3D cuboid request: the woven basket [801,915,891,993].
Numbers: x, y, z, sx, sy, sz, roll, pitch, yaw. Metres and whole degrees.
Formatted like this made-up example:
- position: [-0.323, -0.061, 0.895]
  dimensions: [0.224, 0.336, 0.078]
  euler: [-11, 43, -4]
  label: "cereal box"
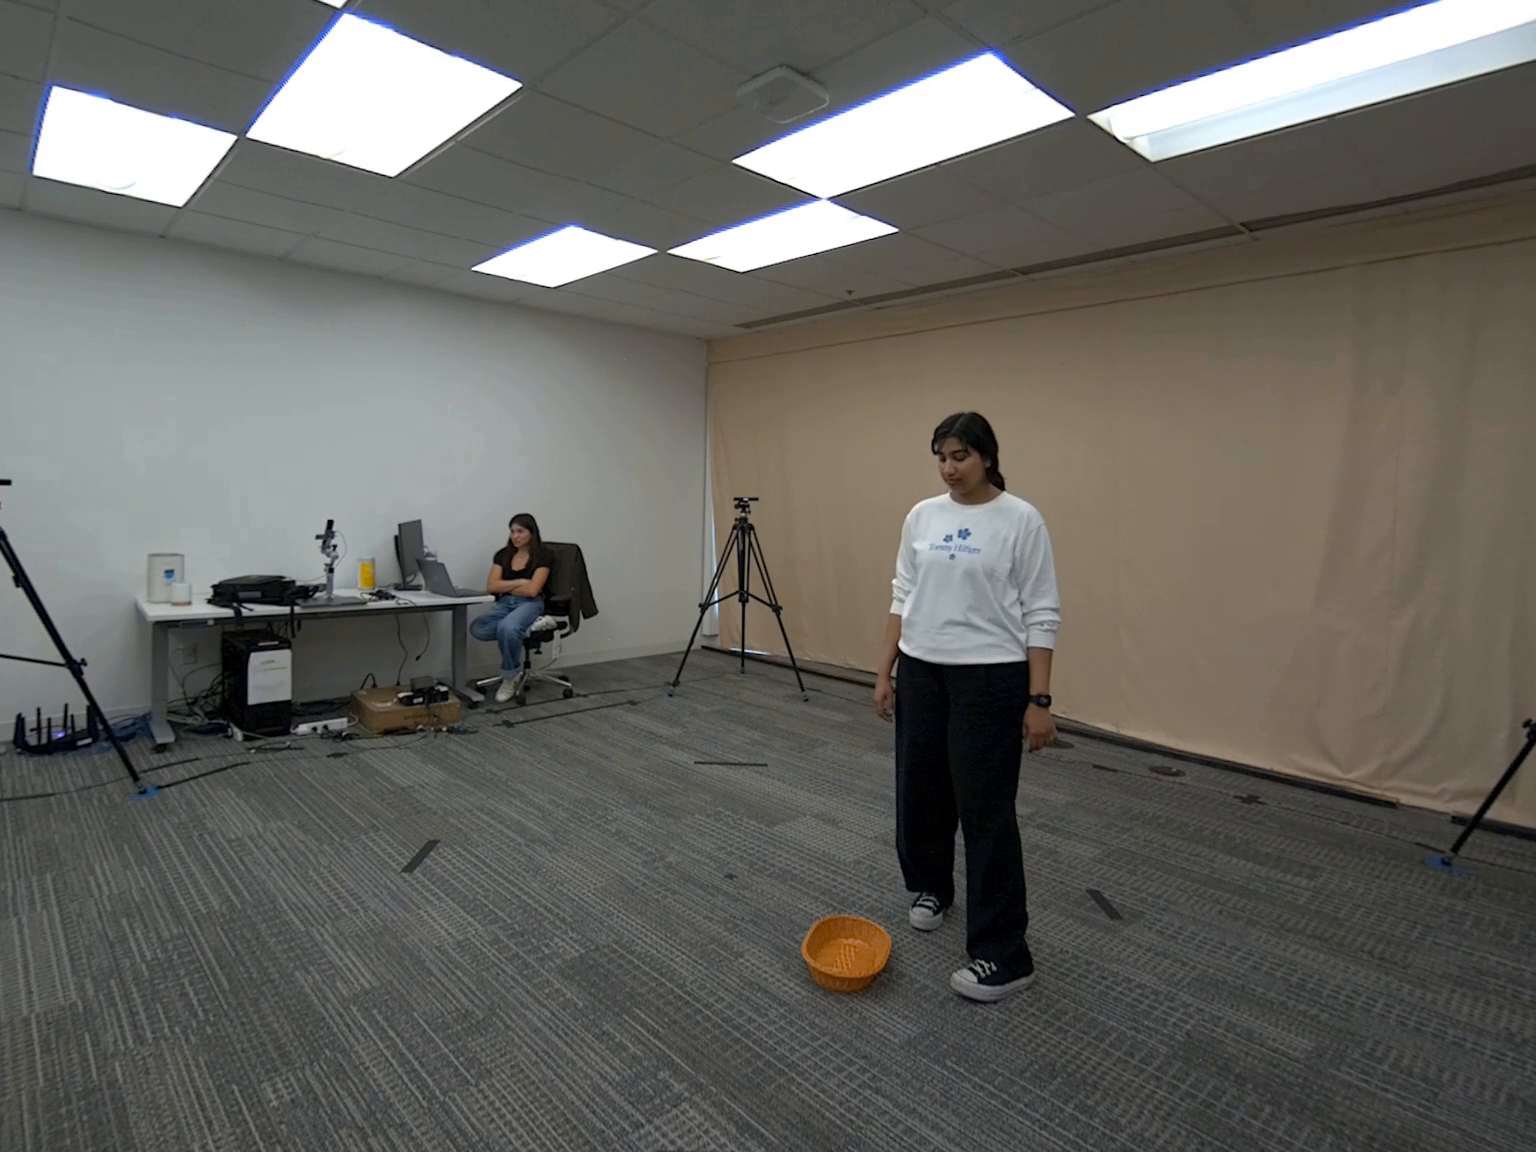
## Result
- position: [0.231, 1.130, 2.523]
  dimensions: [0.257, 0.073, 0.345]
  euler: [5, 6, 23]
  label: "woven basket"
